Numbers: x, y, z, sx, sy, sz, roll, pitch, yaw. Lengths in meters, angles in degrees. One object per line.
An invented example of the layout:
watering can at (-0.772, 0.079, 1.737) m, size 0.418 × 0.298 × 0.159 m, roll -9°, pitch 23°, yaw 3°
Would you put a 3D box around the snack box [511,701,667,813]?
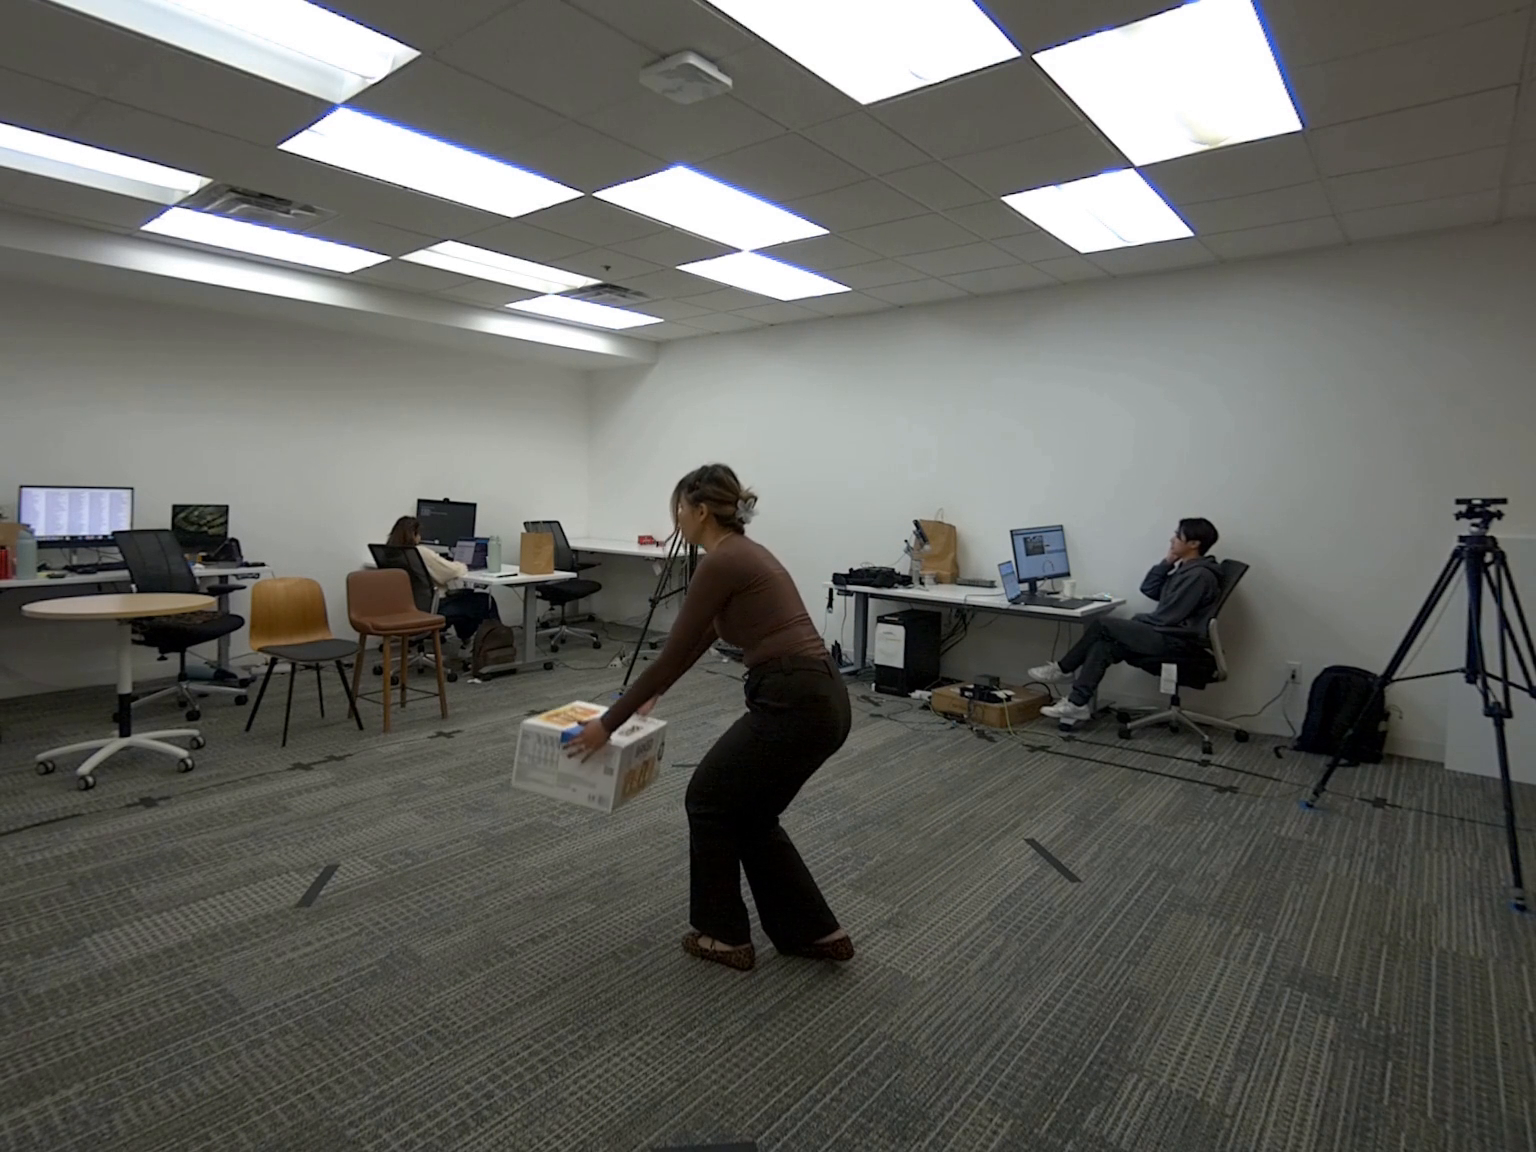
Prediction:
snack box at (-0.566, 0.561, 2.723) m, size 0.347 × 0.205 × 0.398 m, roll 9°, pitch 3°, yaw 14°
